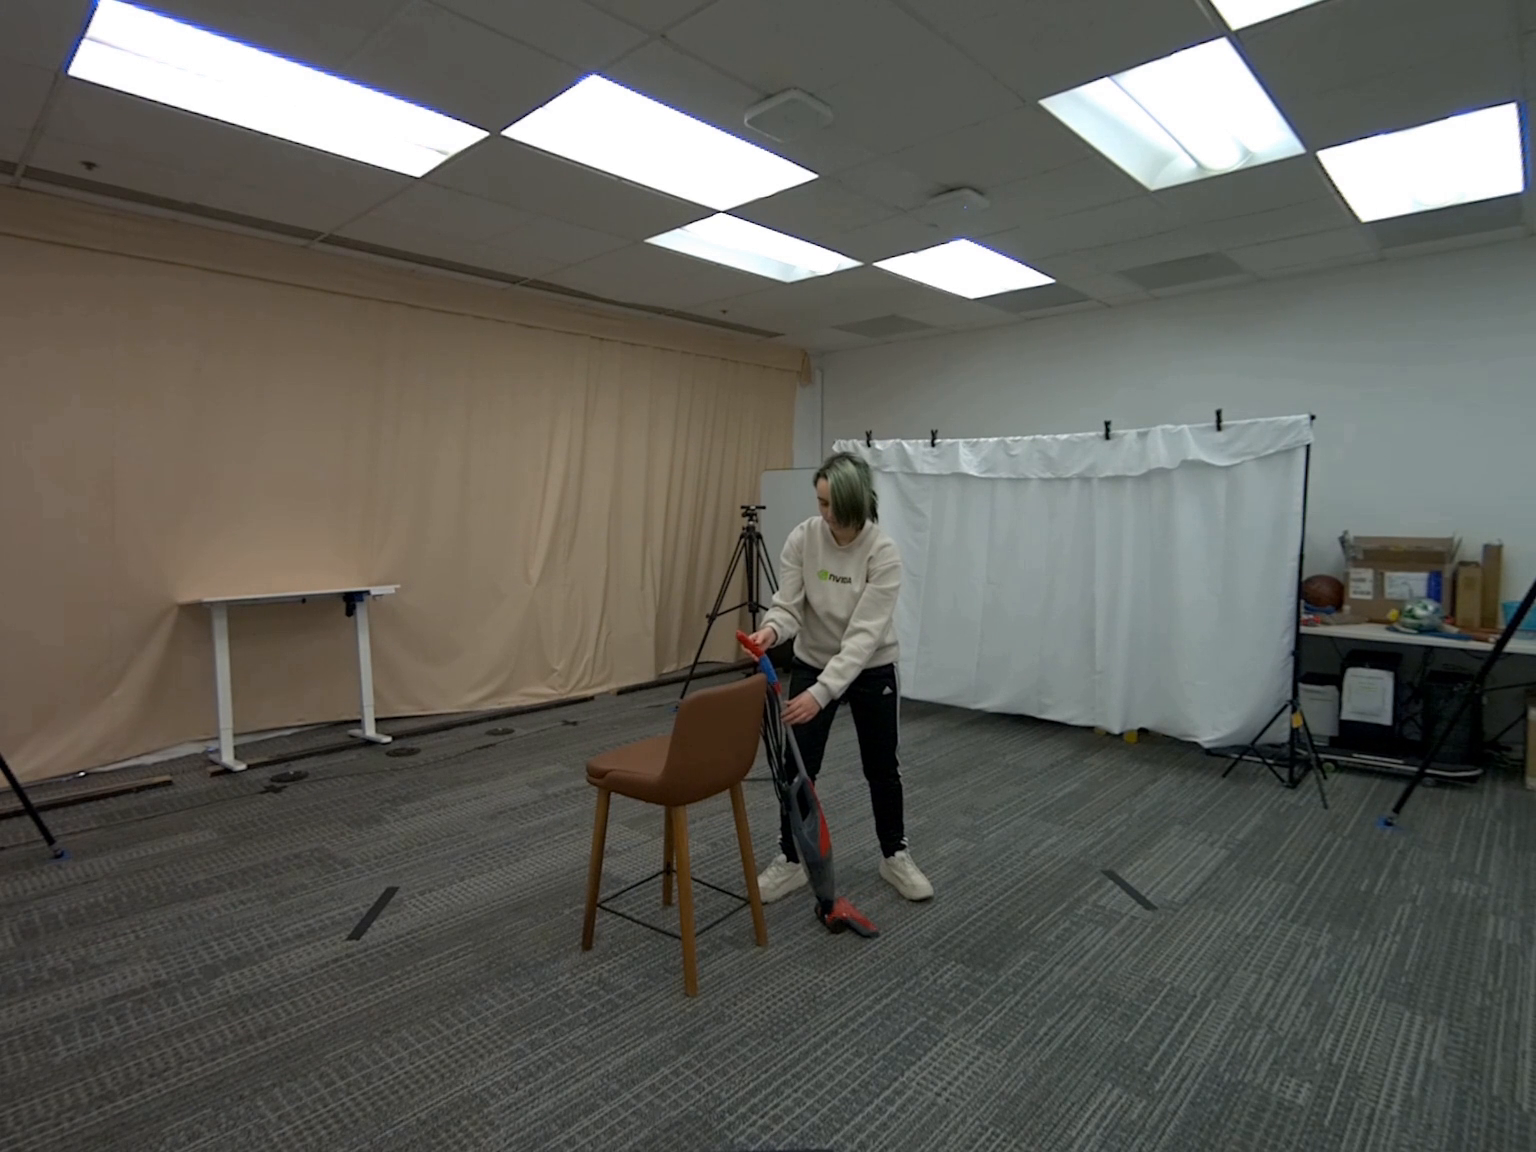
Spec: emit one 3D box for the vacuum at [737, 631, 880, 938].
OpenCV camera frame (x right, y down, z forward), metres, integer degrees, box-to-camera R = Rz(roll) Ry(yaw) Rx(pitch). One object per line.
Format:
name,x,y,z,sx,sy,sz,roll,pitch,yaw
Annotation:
vacuum,0.087,0.674,2.738,0.141,1.041,0.259,-23,9,-24
